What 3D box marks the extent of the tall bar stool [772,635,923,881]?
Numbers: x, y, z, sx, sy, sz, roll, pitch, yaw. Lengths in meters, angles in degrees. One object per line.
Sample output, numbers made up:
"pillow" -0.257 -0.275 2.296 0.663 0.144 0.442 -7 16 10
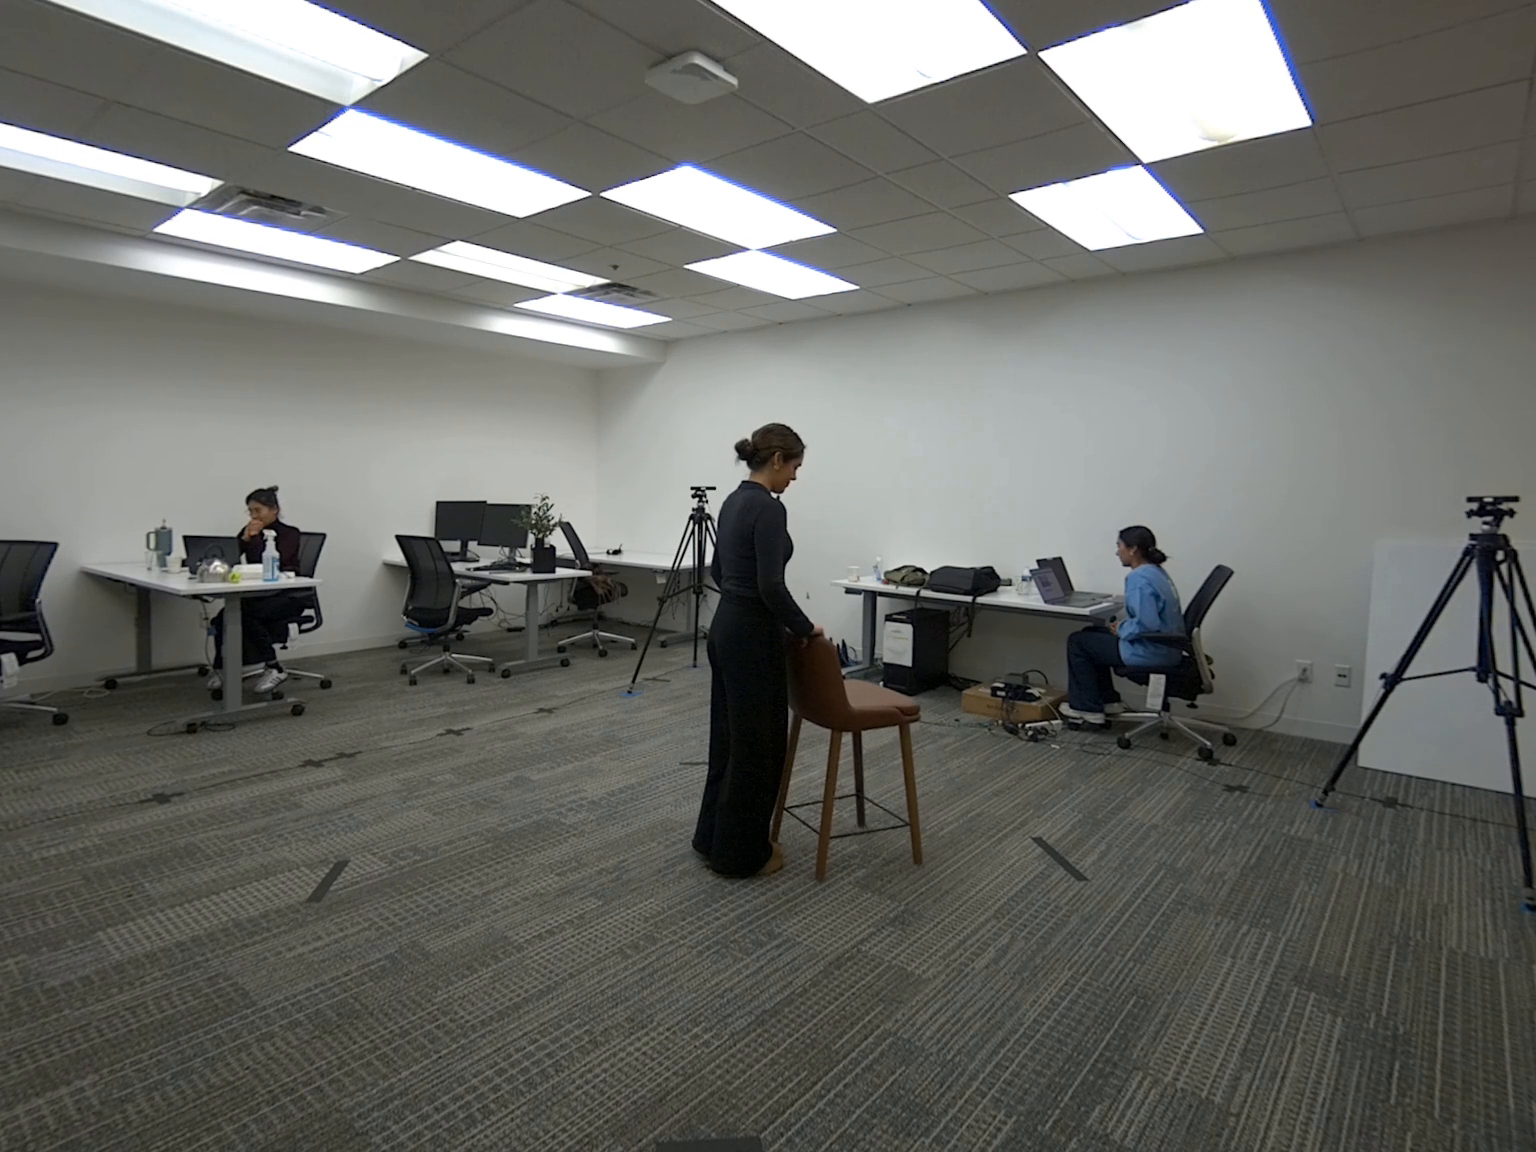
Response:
"tall bar stool" 0.282 0.622 3.248 0.457 0.886 0.469 -3 5 -26
